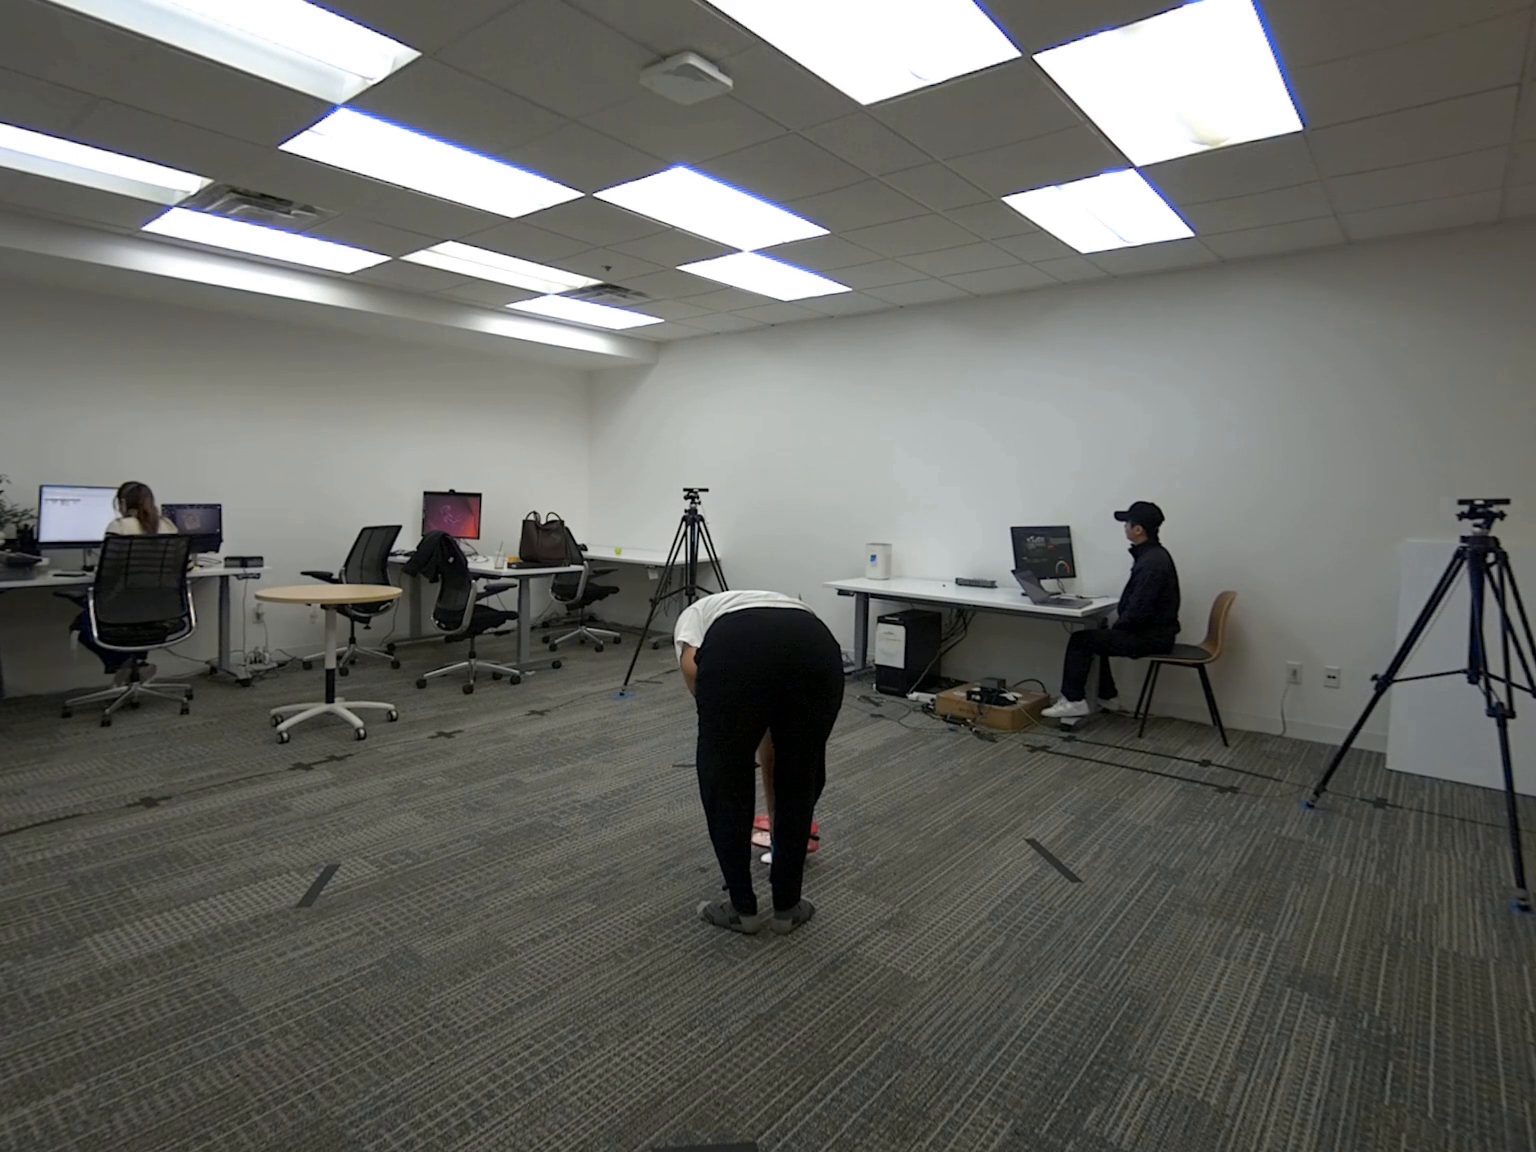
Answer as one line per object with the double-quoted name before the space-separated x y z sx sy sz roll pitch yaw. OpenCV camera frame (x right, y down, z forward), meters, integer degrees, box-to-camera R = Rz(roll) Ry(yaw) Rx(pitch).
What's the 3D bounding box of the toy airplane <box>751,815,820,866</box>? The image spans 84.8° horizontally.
"toy airplane" 0.070 0.992 3.161 0.247 0.156 0.265 0 5 -18
